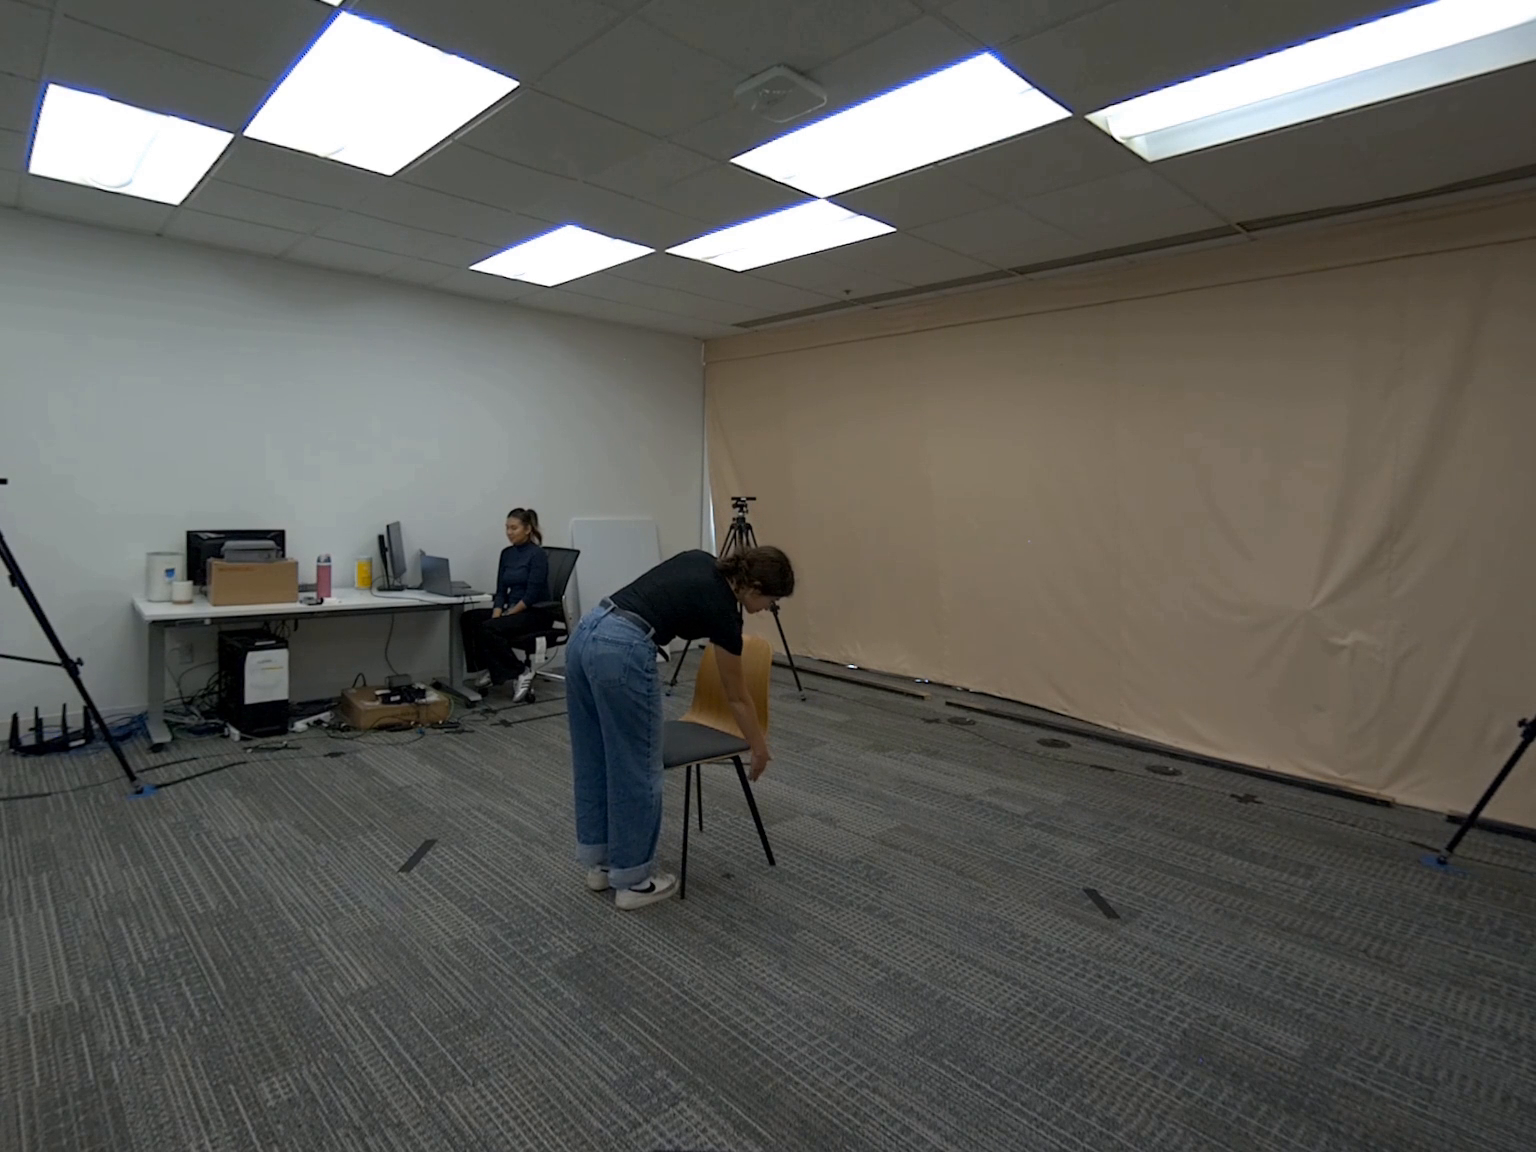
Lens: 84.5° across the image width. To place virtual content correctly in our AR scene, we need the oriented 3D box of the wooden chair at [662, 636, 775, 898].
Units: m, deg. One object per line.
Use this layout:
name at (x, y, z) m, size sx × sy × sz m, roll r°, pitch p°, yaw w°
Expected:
wooden chair at (-0.289, 0.670, 3.193) m, size 0.510 × 0.877 × 0.490 m, roll 4°, pitch 1°, yaw -42°
